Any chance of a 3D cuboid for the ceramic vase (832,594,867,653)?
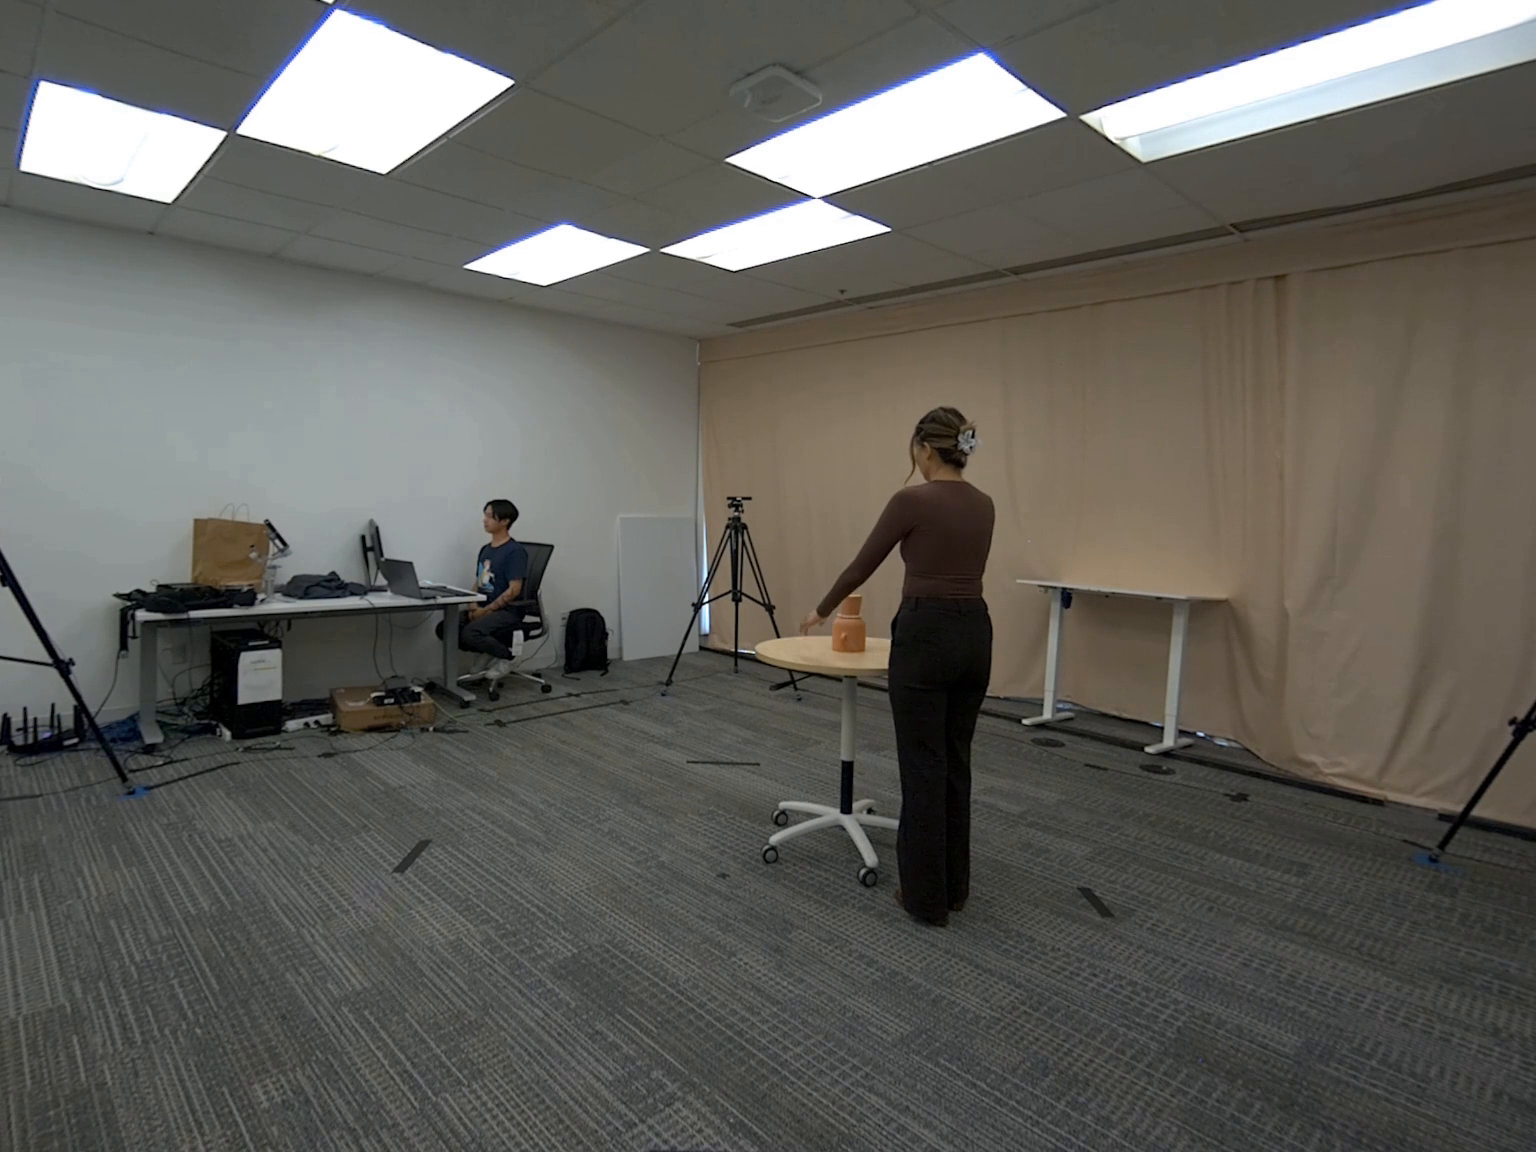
[{"bbox_3d":[0.317,0.187,3.380,0.133,0.219,0.161,2,2,-19],"label":"ceramic vase"}]
